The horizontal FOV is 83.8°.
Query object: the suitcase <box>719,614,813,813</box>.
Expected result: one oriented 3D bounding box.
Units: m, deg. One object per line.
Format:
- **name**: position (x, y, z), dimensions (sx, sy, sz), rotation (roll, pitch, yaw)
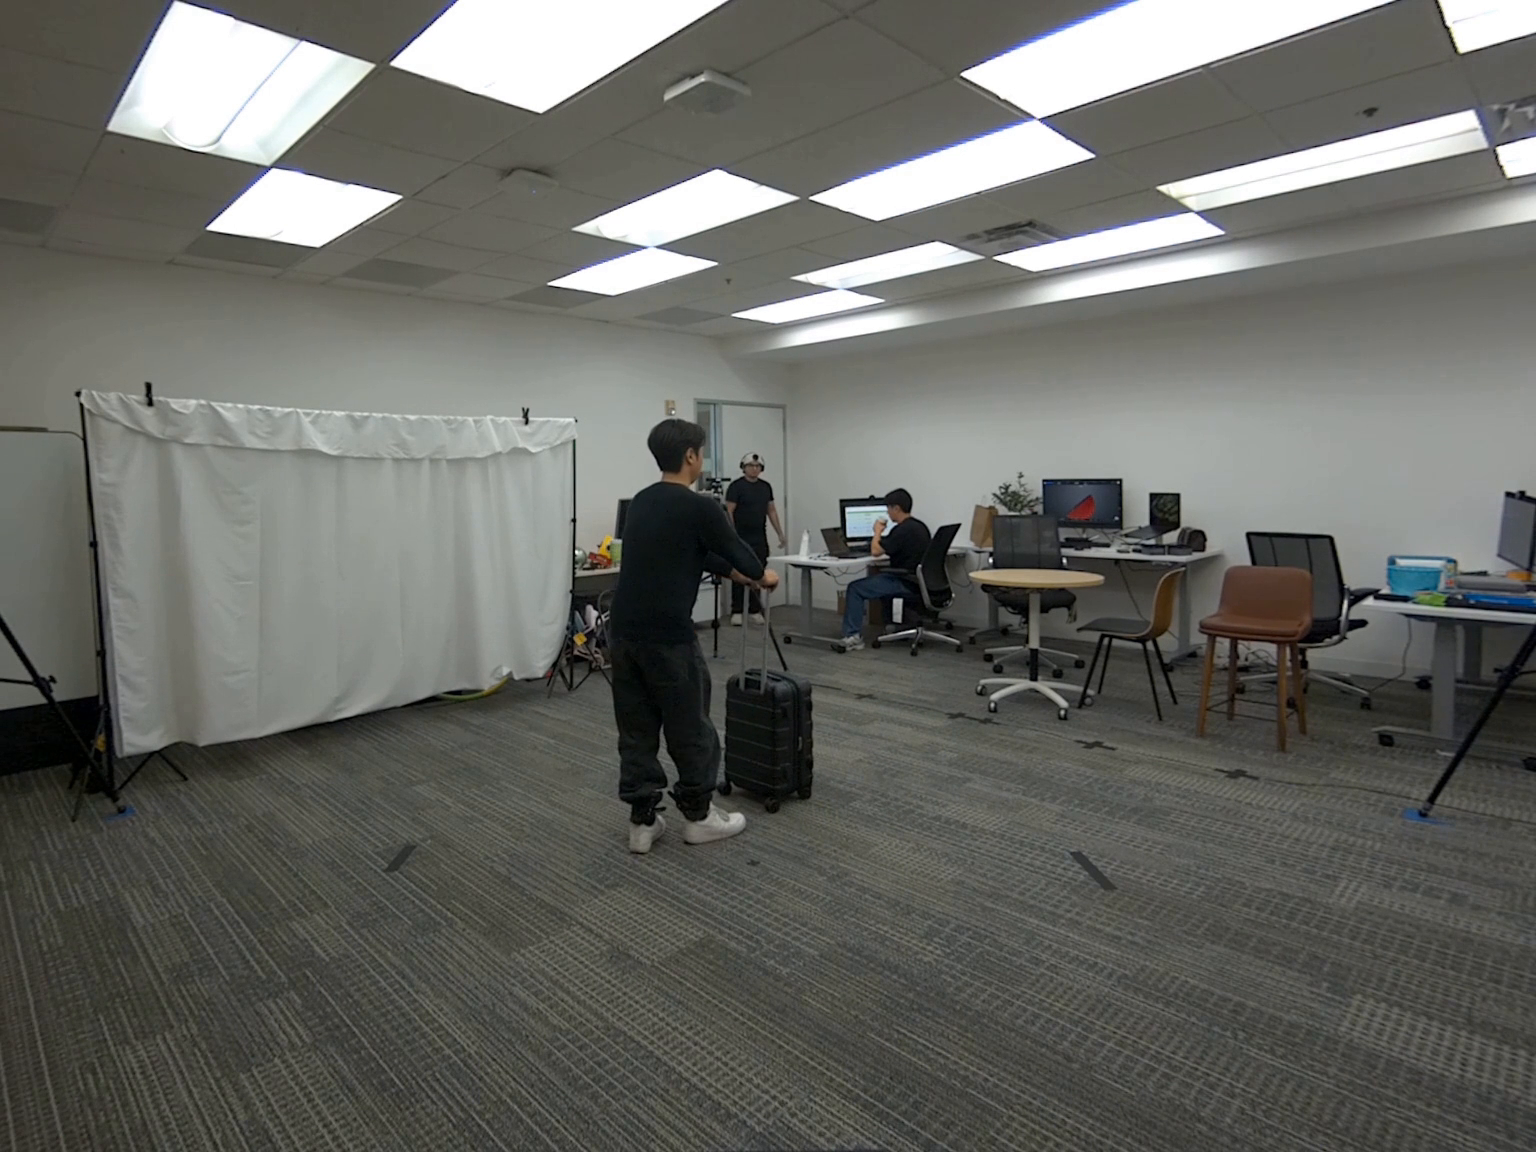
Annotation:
- **suitcase**: position (0.010, 0.493, 3.758), dimensions (0.396, 0.978, 0.249), rotation (3, 1, 44)
